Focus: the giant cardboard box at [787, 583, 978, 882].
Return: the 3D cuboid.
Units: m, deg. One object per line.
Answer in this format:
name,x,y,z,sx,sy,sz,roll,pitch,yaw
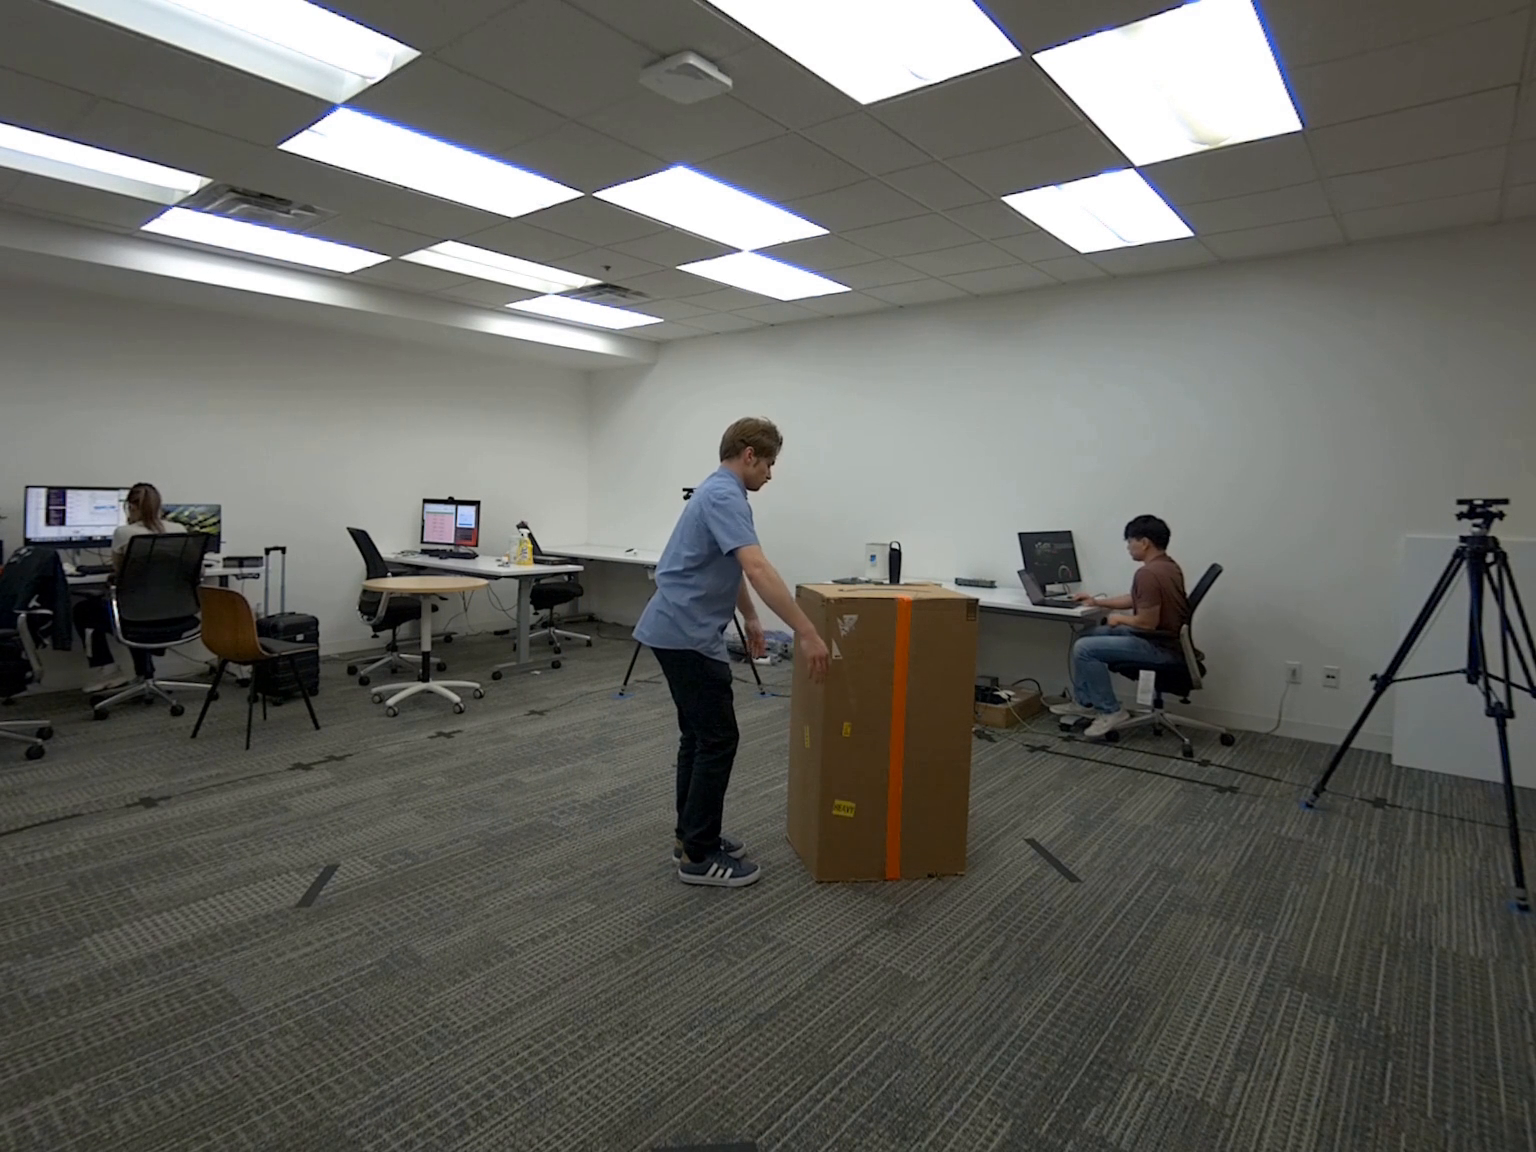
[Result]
giant cardboard box,0.411,0.561,3.245,0.571,1.023,0.433,1,3,-11
